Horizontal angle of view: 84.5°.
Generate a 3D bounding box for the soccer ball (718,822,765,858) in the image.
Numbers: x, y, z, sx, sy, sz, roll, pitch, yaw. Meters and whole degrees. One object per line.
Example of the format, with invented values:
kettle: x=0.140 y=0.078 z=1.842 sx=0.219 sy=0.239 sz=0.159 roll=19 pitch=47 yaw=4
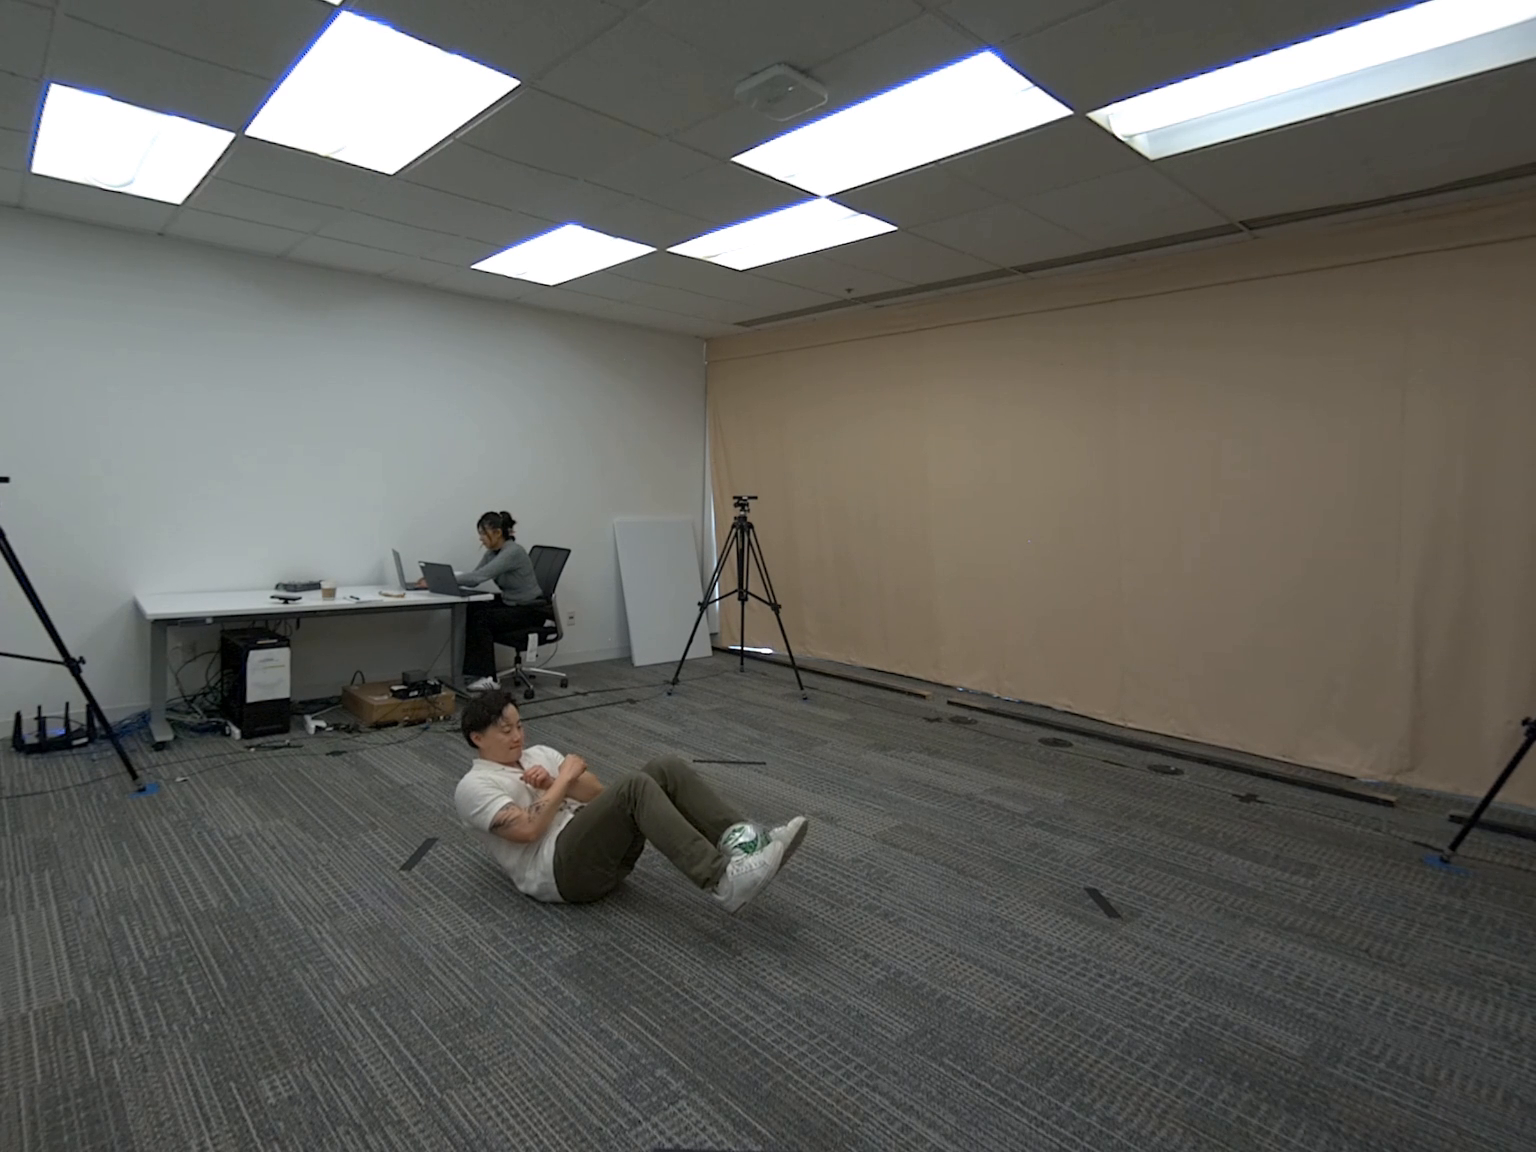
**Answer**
soccer ball: x=-0.086 y=0.889 z=2.683 sx=0.187 sy=0.187 sz=0.188 roll=1 pitch=4 yaw=-1
